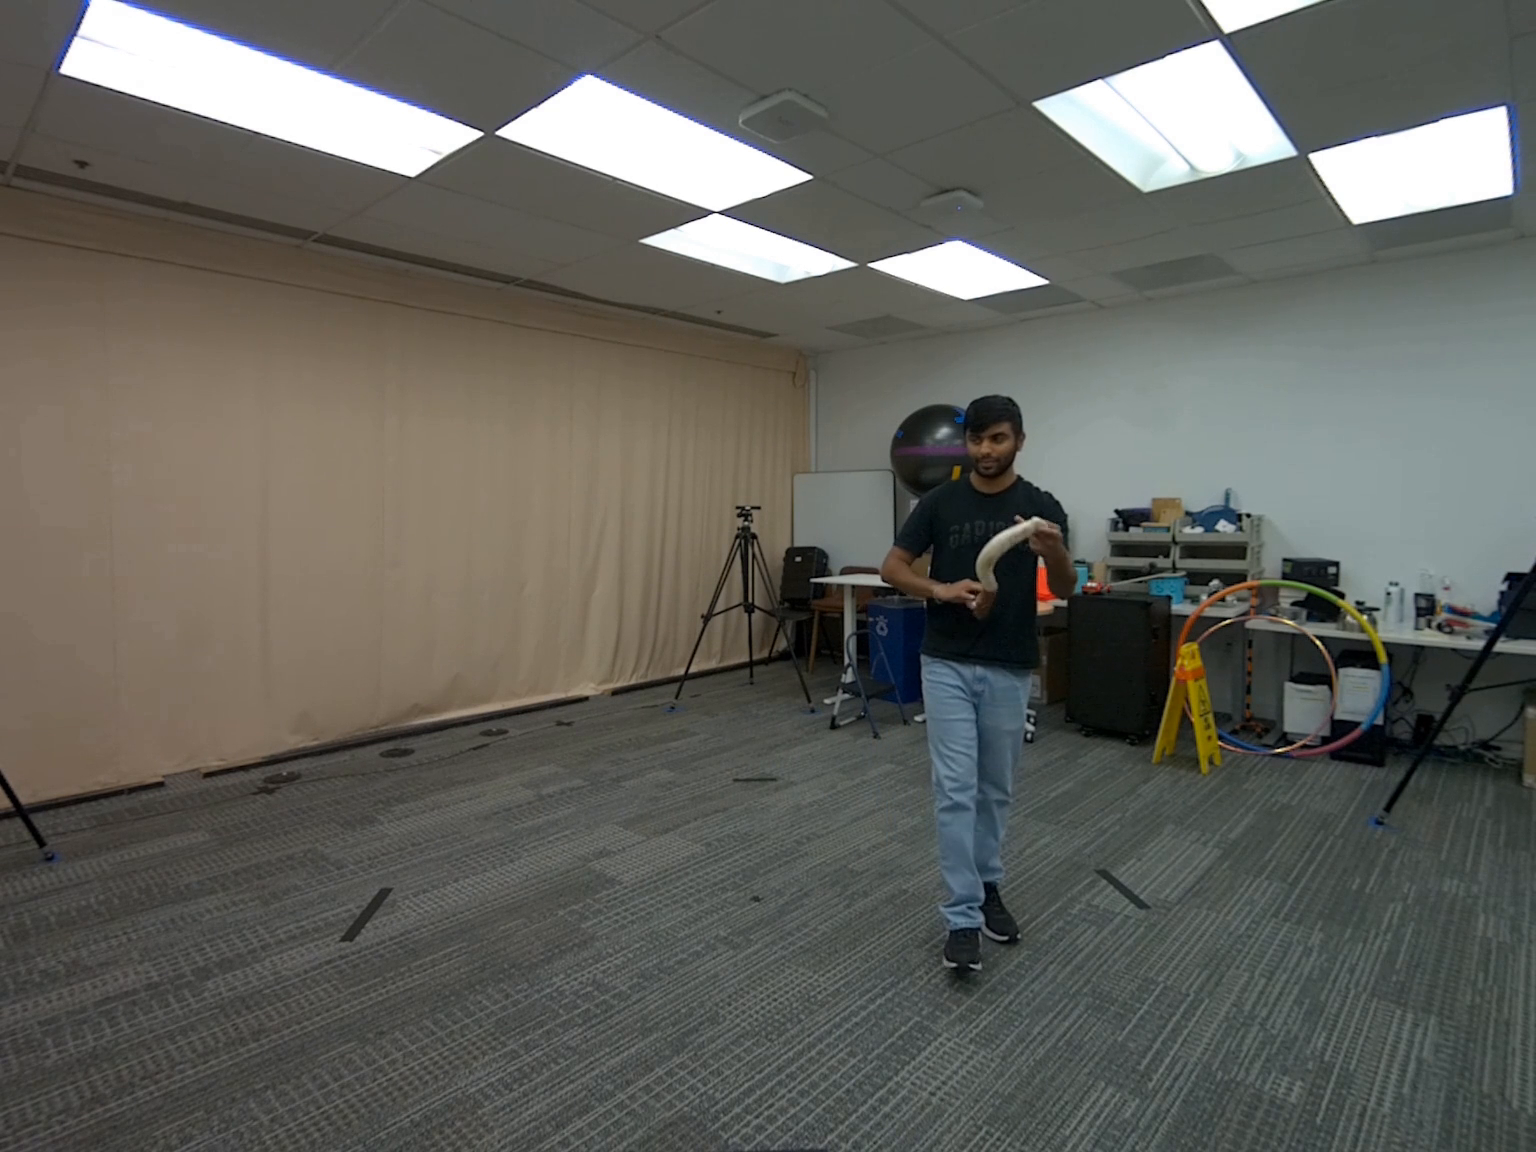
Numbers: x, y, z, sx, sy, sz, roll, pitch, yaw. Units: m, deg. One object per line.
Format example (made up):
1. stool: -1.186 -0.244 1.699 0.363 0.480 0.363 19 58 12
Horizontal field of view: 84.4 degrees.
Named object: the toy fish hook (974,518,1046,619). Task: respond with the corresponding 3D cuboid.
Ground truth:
1. toy fish hook: 0.674 -0.014 2.392 0.224 0.049 0.495 -25 -26 -6
